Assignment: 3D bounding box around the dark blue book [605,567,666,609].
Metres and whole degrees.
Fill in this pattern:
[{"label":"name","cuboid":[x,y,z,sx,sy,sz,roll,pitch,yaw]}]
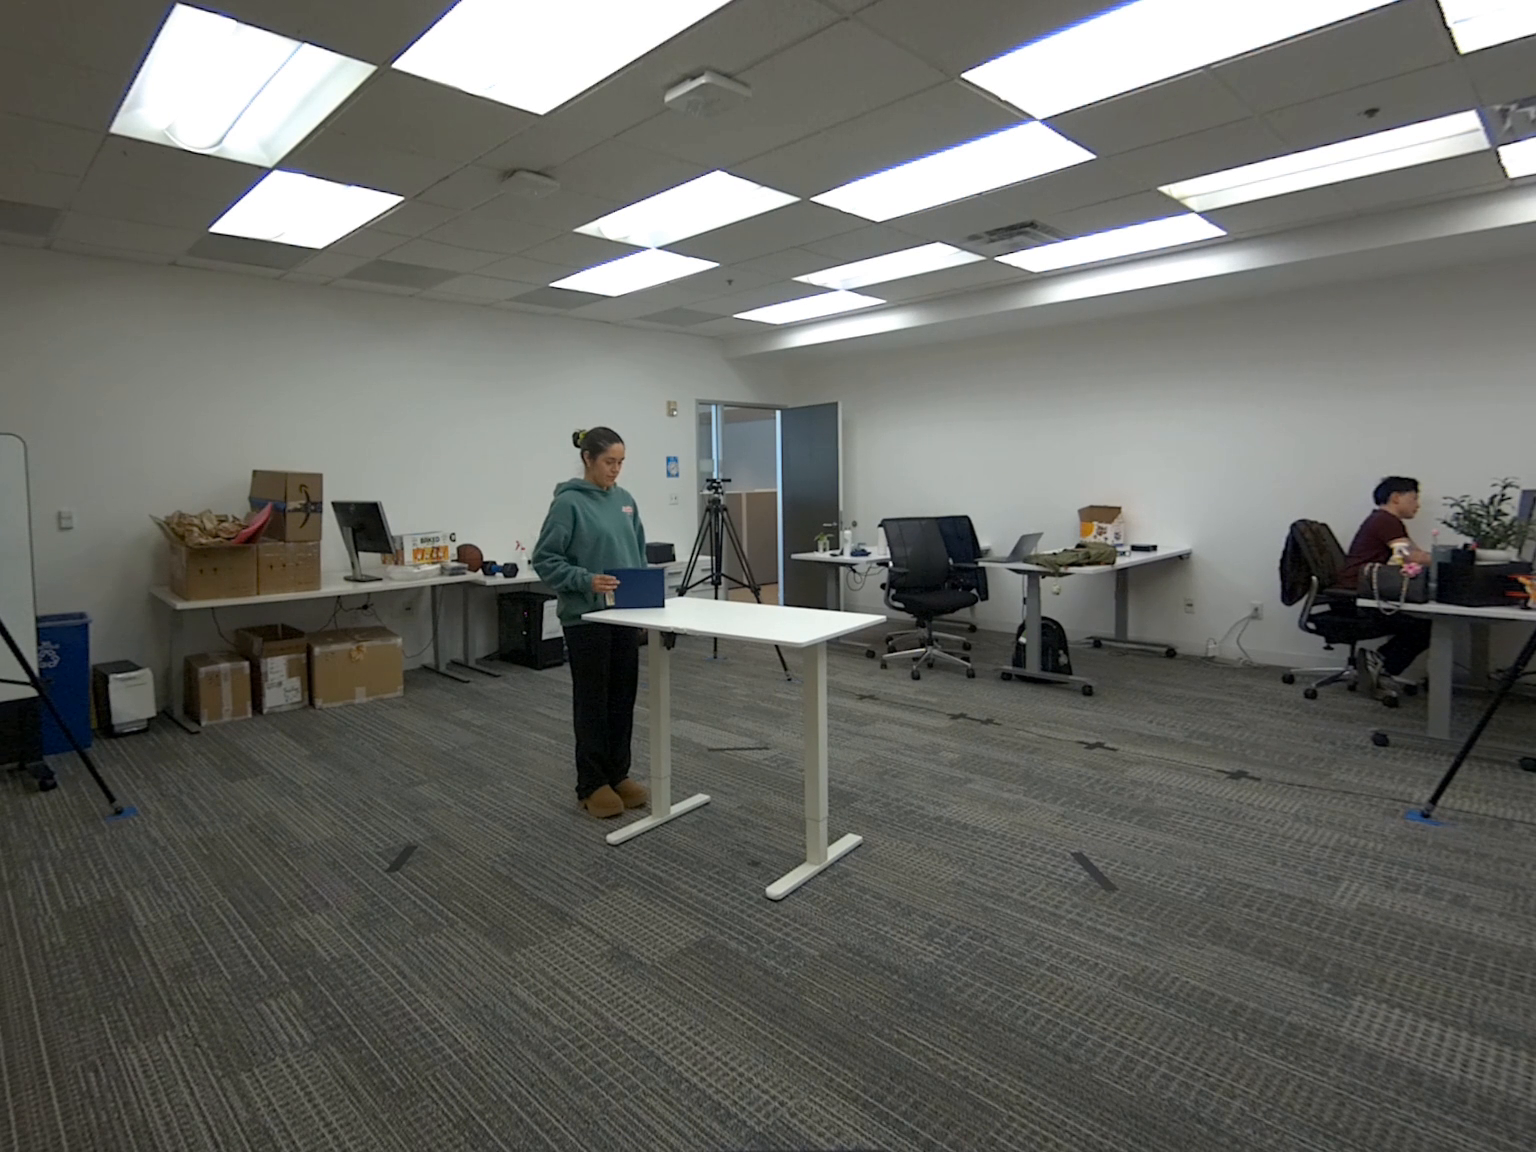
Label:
[{"label":"dark blue book","cuboid":[-0.534,0.046,3.459,0.246,0.163,0.045,-1,4,4]}]
